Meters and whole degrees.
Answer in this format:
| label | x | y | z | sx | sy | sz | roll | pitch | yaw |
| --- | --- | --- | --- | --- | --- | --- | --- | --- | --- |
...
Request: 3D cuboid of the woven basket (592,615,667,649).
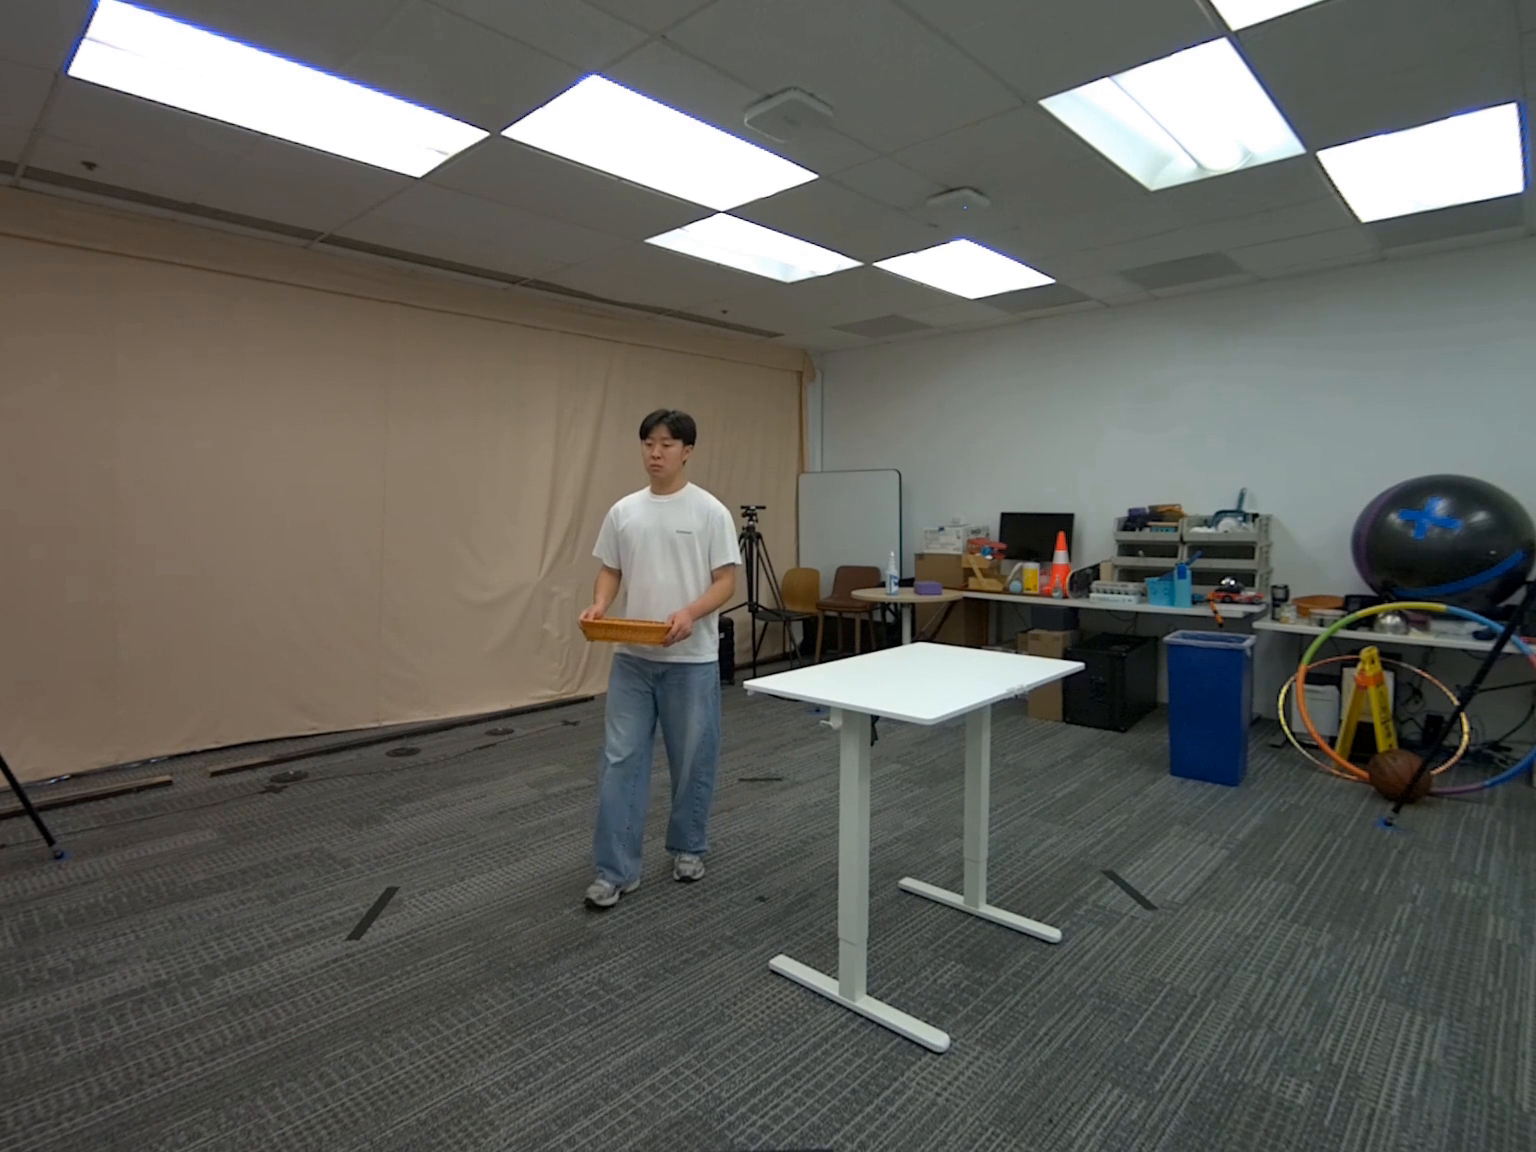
| label | x | y | z | sx | sy | sz | roll | pitch | yaw |
| --- | --- | --- | --- | --- | --- | --- | --- | --- | --- |
| woven basket | -0.411 | 0.183 | 2.862 | 0.346 | 0.073 | 0.256 | -1 | 4 | -13 |
